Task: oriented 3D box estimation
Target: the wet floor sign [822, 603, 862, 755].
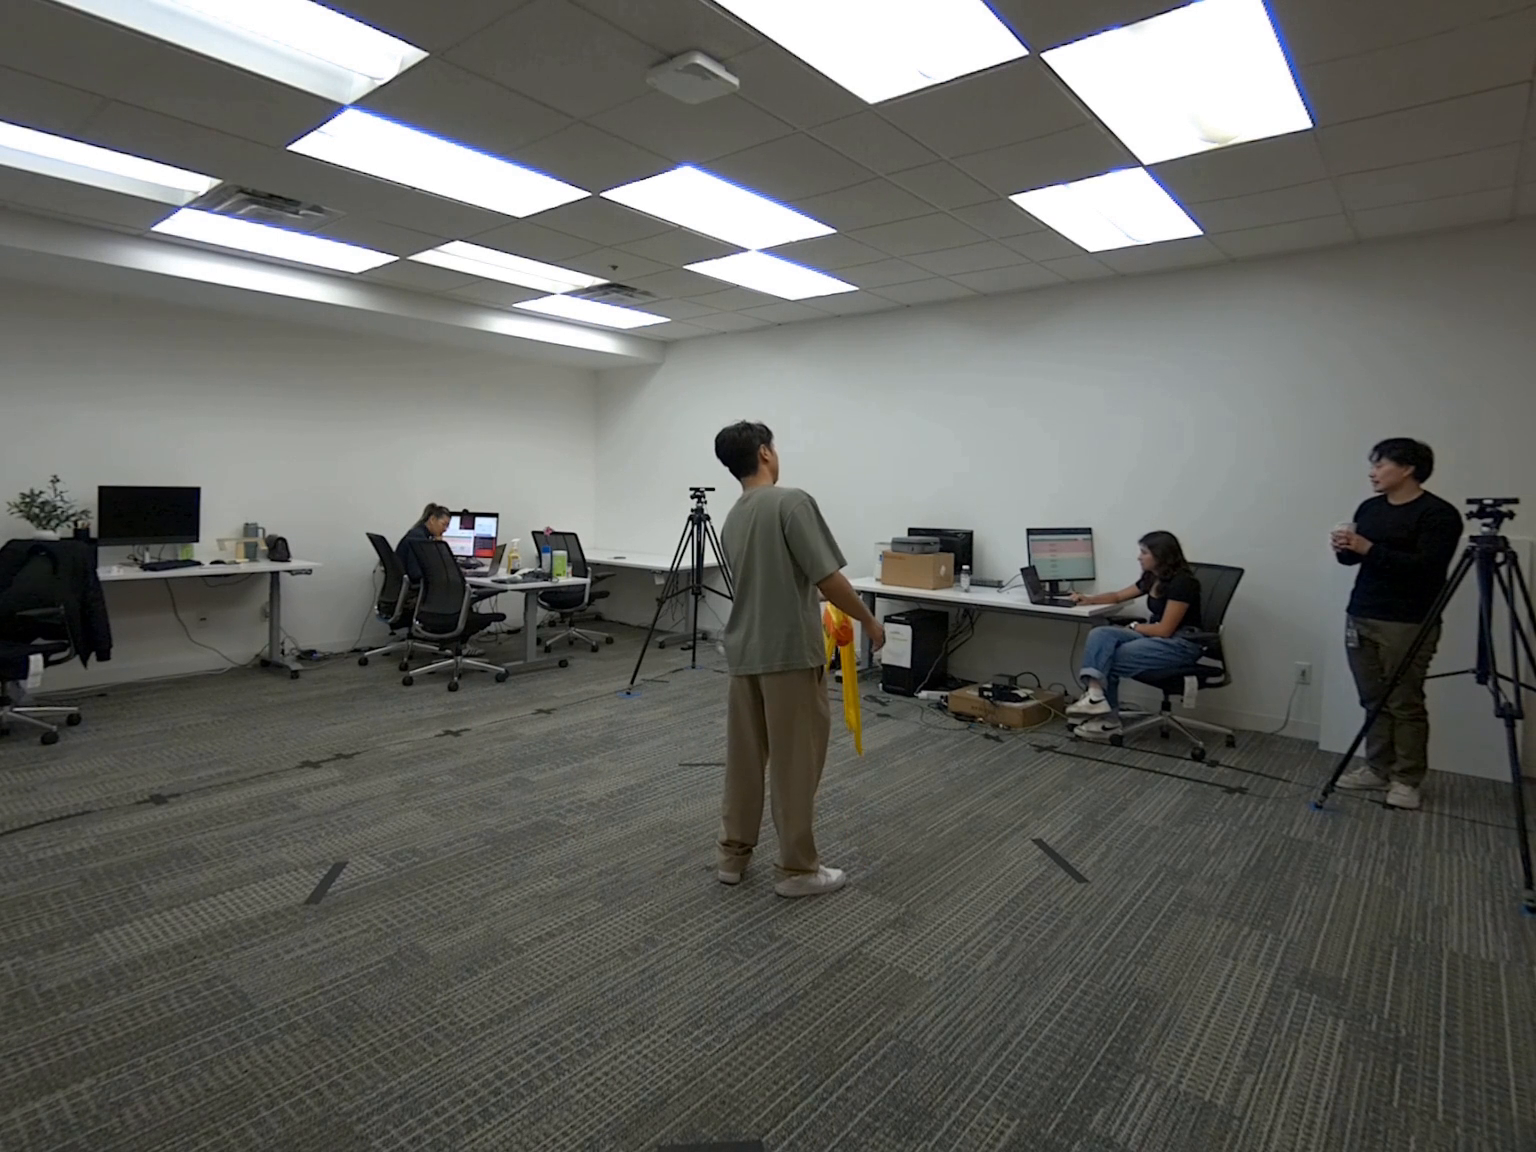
[{"bbox_3d":[0.248,0.354,3.387,0.287,0.637,0.289,1,17,-9],"label":"wet floor sign"}]
